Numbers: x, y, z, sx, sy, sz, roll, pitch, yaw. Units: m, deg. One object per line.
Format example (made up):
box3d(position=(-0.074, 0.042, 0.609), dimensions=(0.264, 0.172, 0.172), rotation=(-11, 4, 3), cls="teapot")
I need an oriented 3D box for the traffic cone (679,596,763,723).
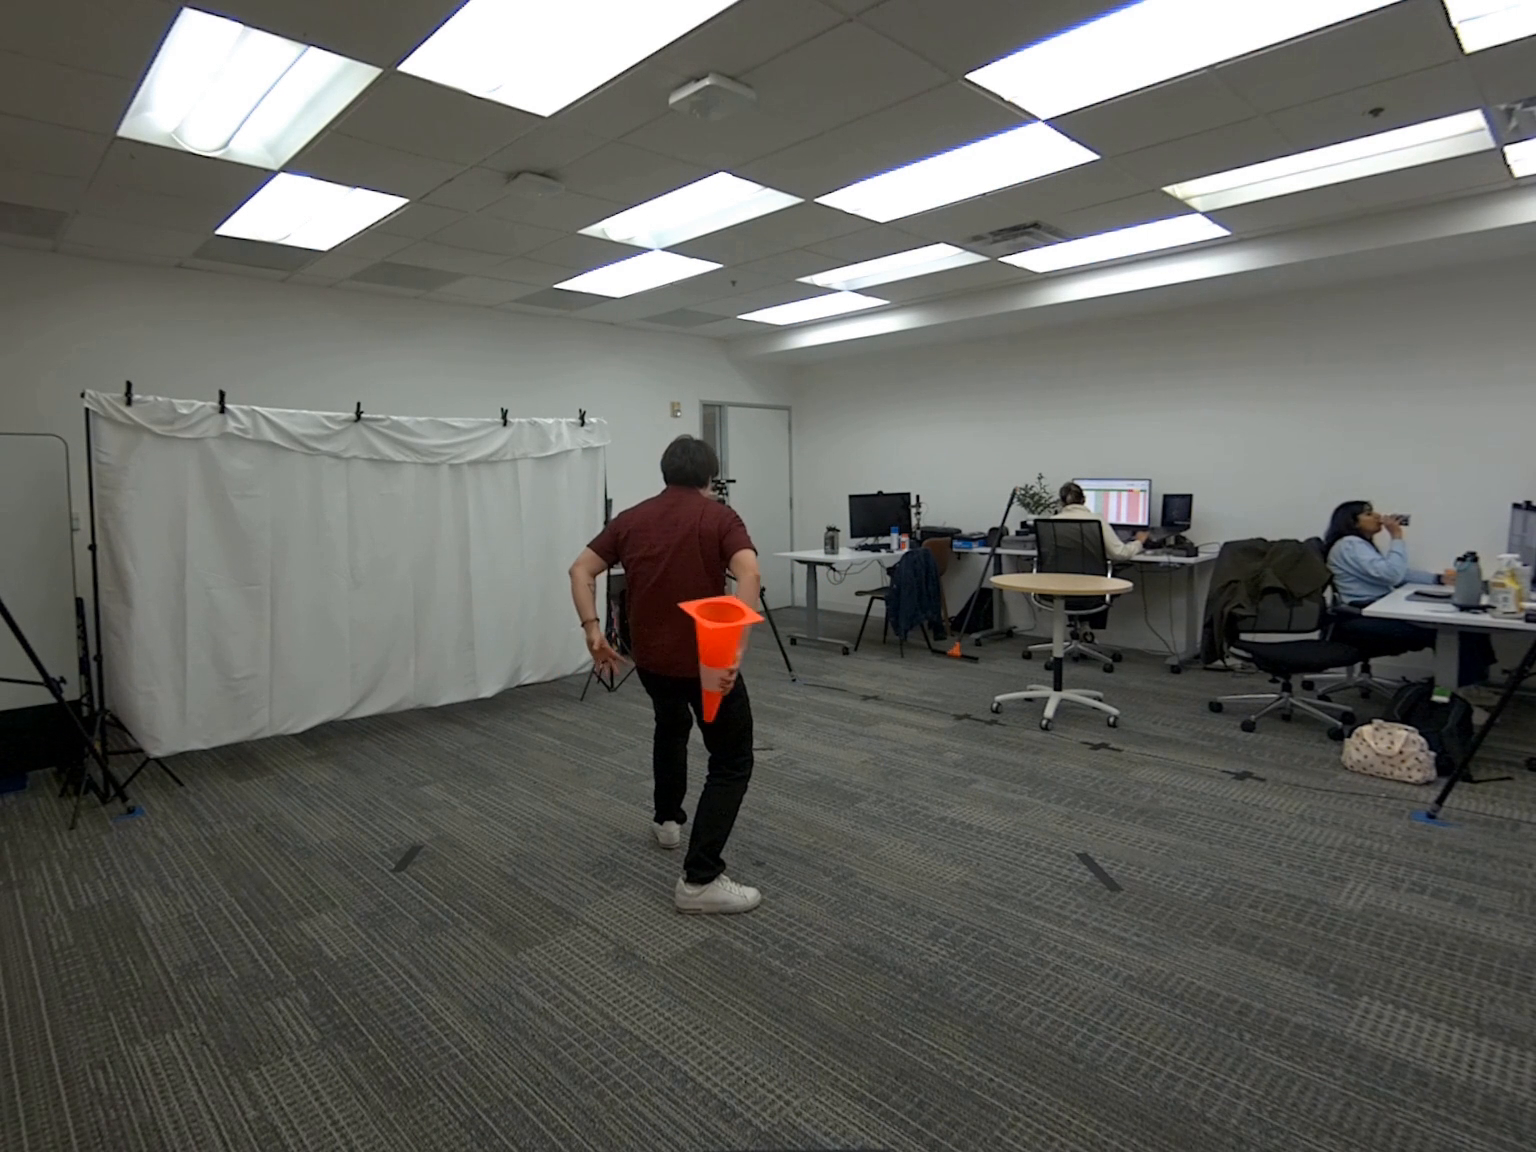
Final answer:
box3d(position=(-0.154, 0.286, 2.673), dimensions=(0.200, 0.377, 0.211), rotation=(-3, 21, -17), cls="traffic cone")
